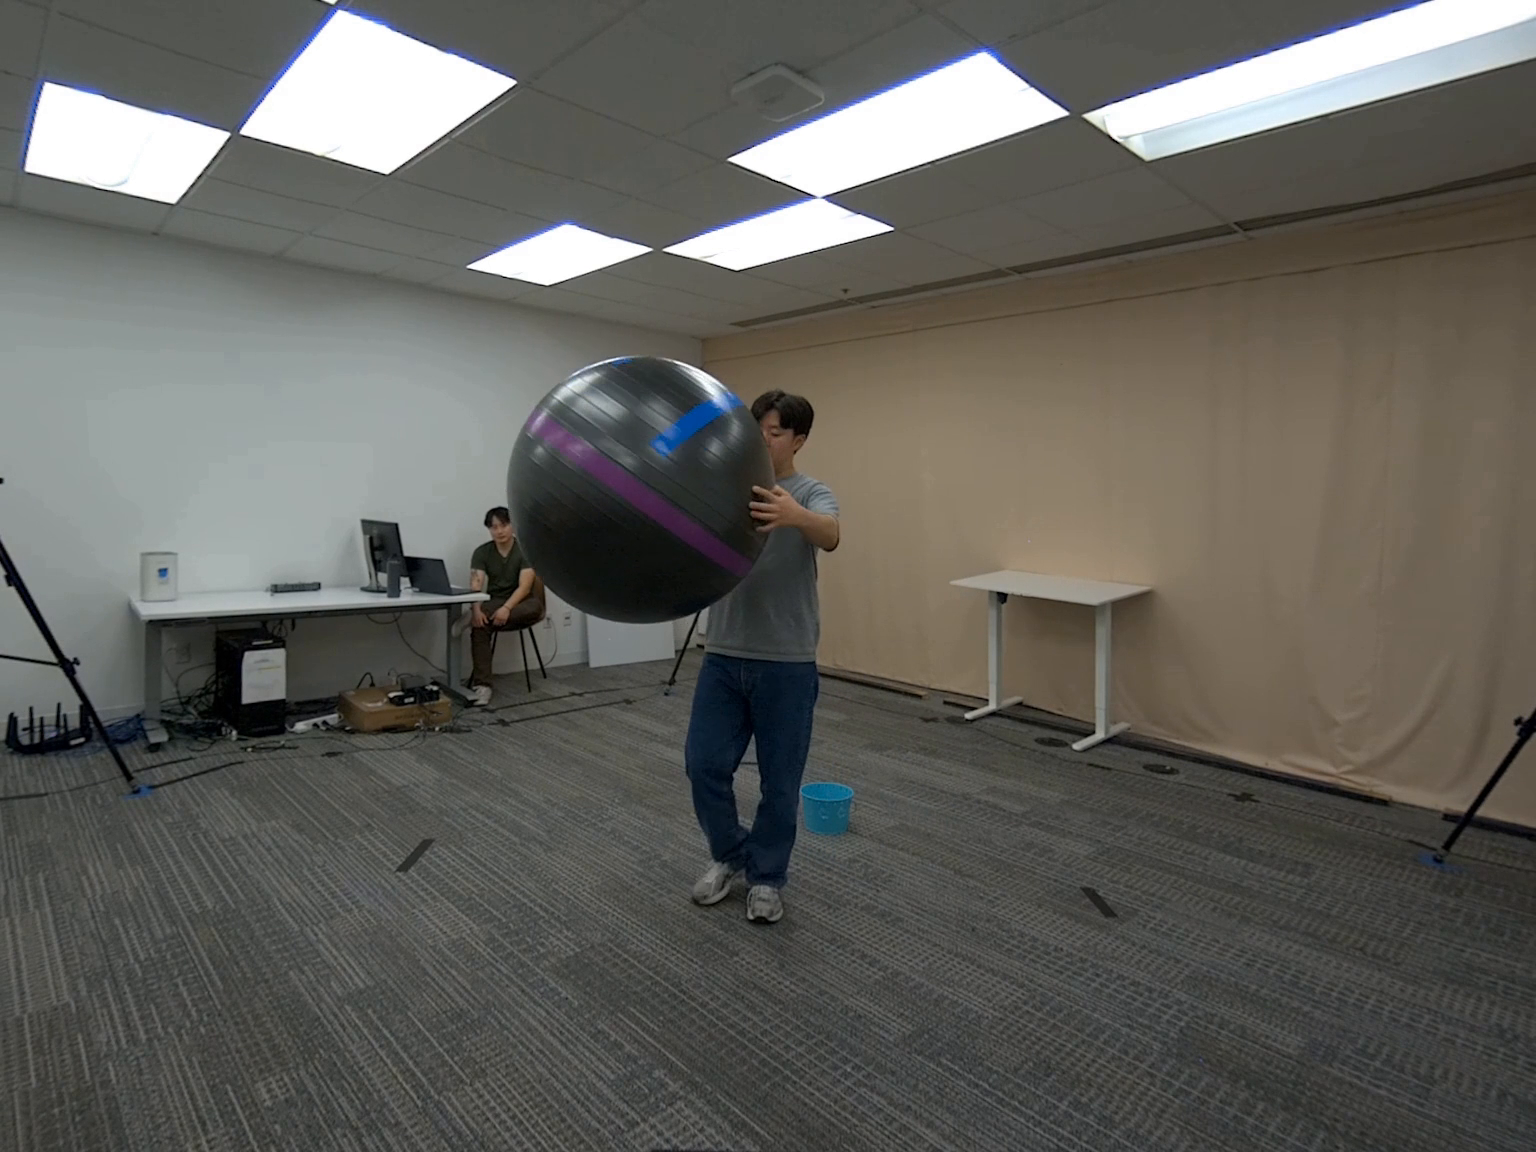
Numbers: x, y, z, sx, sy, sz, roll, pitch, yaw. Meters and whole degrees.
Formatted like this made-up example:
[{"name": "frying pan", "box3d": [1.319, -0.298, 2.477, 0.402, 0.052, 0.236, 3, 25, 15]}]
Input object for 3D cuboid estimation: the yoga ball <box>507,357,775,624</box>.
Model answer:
[{"name": "yoga ball", "box3d": [-0.369, -0.233, 2.418, 0.757, 0.756, 0.761, 1, 4, -1]}]
